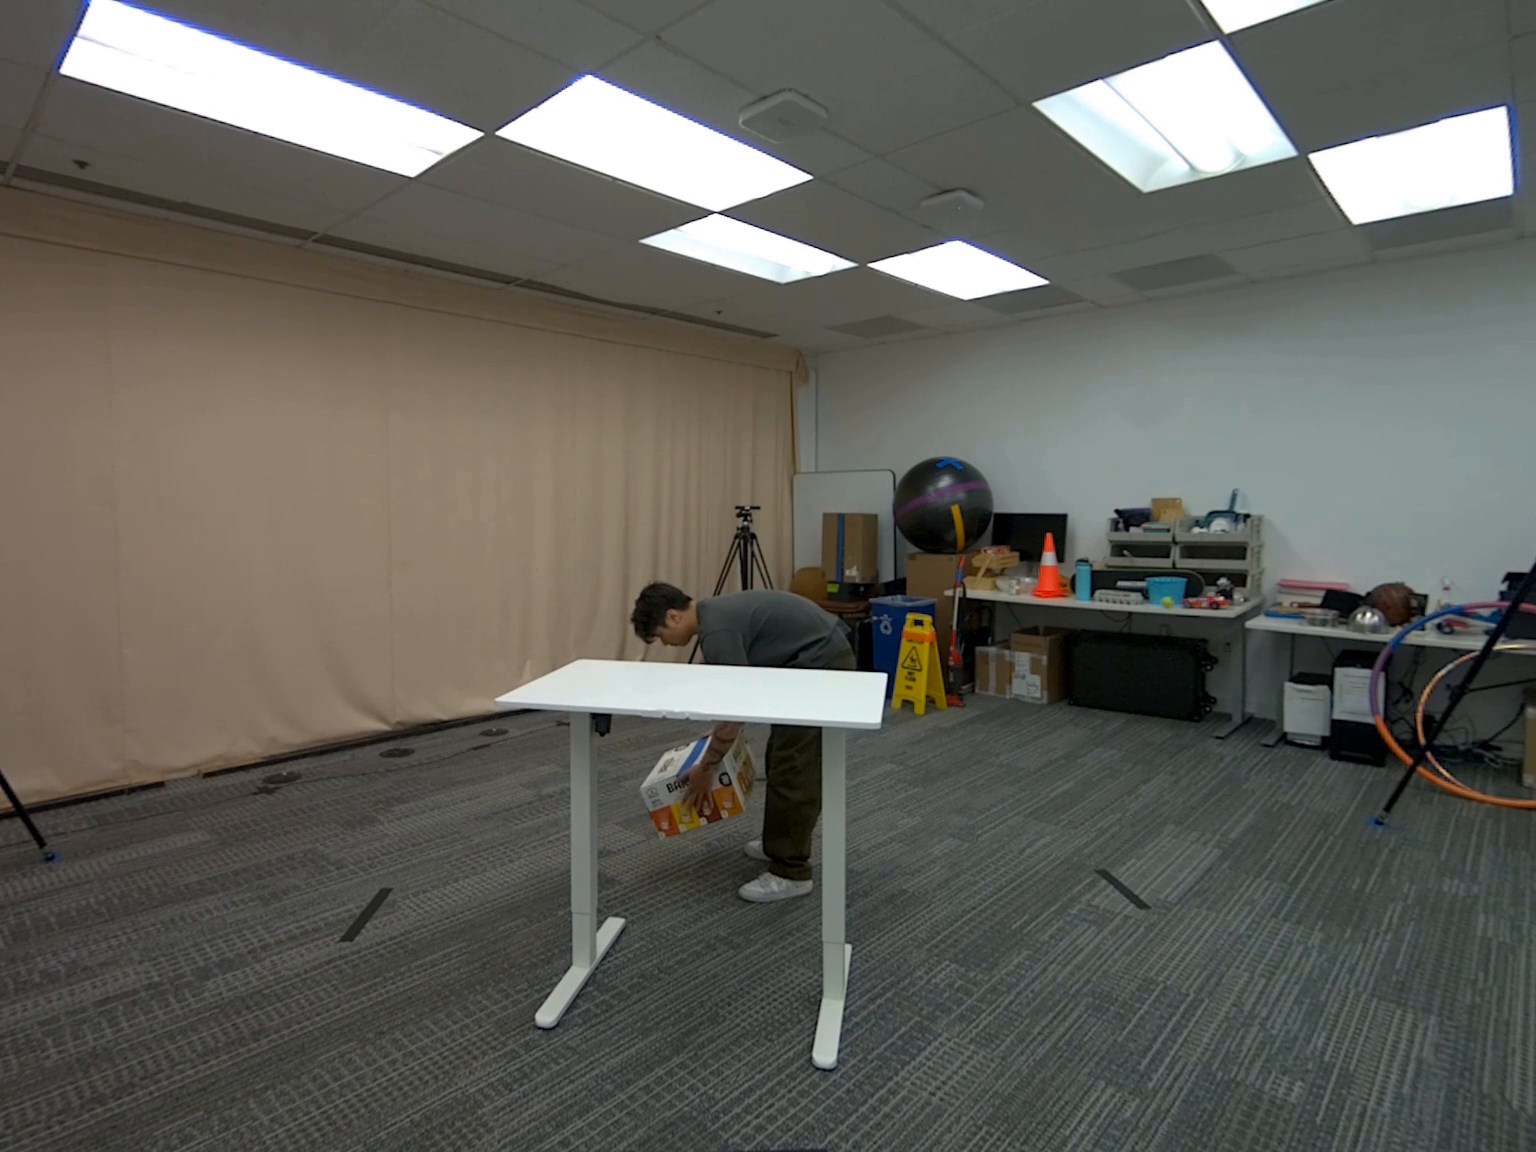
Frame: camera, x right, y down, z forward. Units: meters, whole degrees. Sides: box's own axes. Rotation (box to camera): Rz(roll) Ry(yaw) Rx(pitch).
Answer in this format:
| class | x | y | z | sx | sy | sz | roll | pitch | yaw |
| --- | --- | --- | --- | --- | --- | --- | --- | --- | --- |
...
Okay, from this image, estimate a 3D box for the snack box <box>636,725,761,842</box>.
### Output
| class | x | y | z | sx | sy | sz | roll | pitch | yaw |
| --- | --- | --- | --- | --- | --- | --- | --- | --- | --- |
| snack box | -0.254 | 0.776 | 3.219 | 0.343 | 0.205 | 0.402 | -21 | 3 | 11 |
